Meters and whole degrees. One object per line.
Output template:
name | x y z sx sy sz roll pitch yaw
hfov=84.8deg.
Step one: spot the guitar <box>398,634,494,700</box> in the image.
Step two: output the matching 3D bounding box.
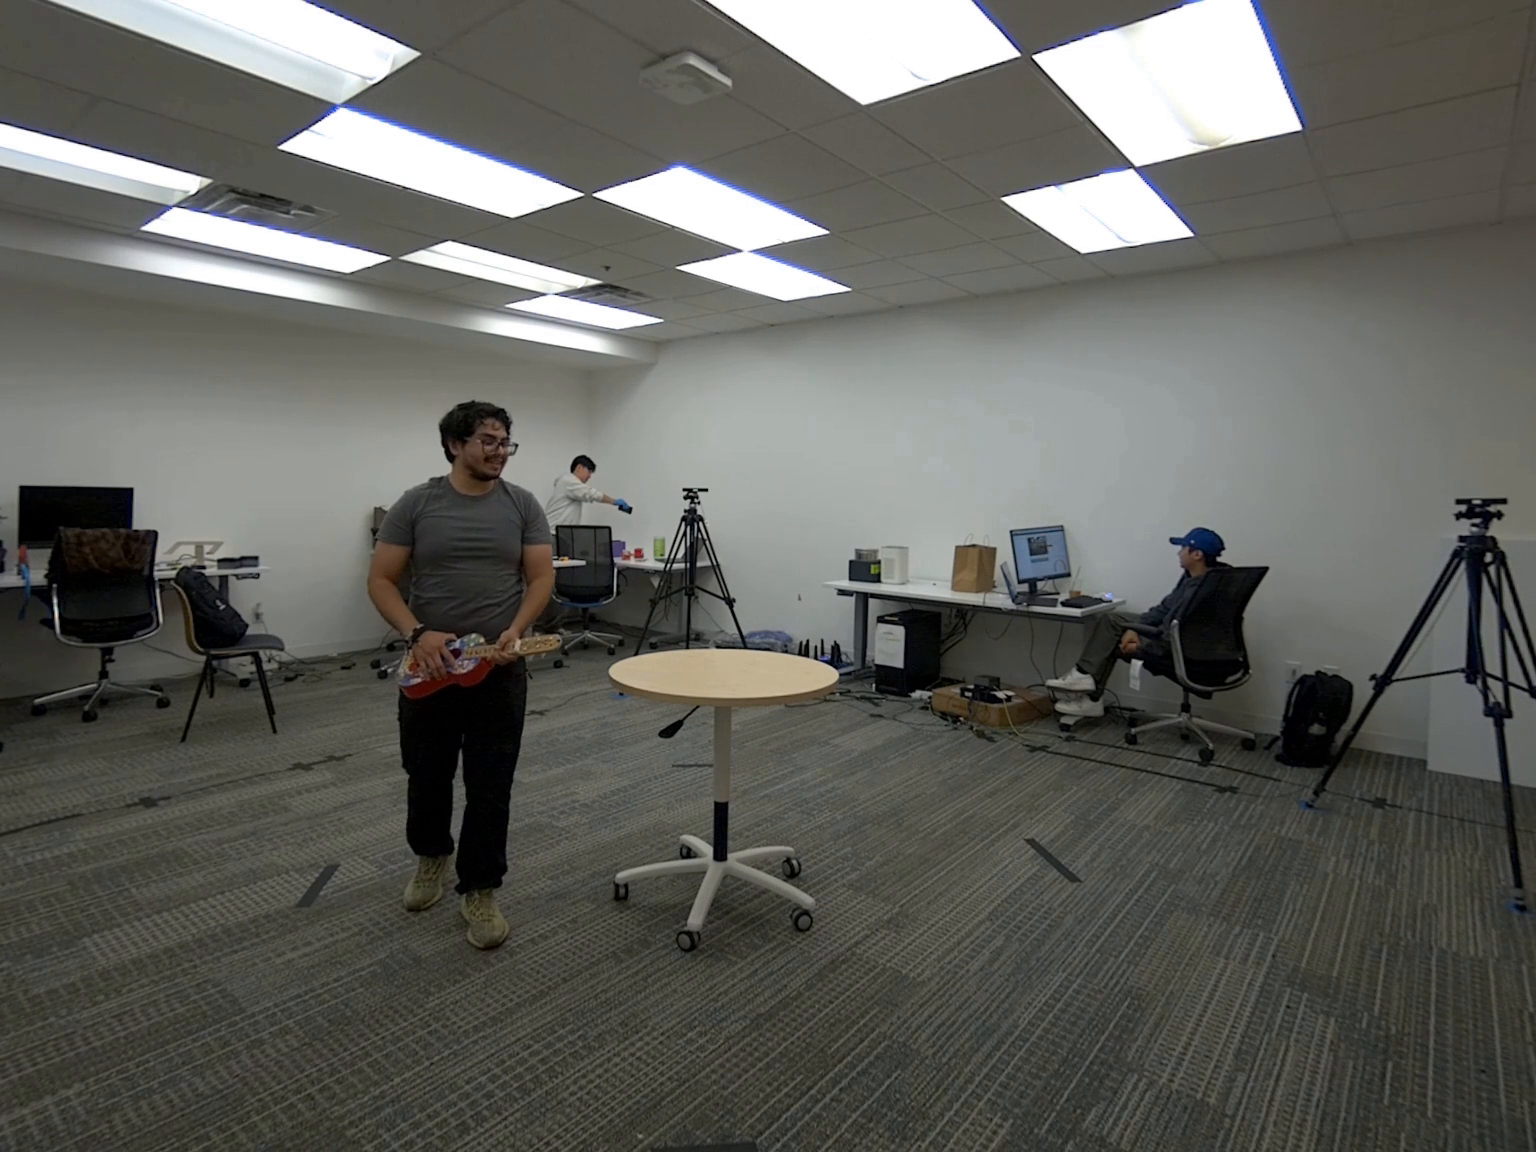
guitar | -0.845 0.251 2.436 0.506 0.068 0.197 -2 46 17
